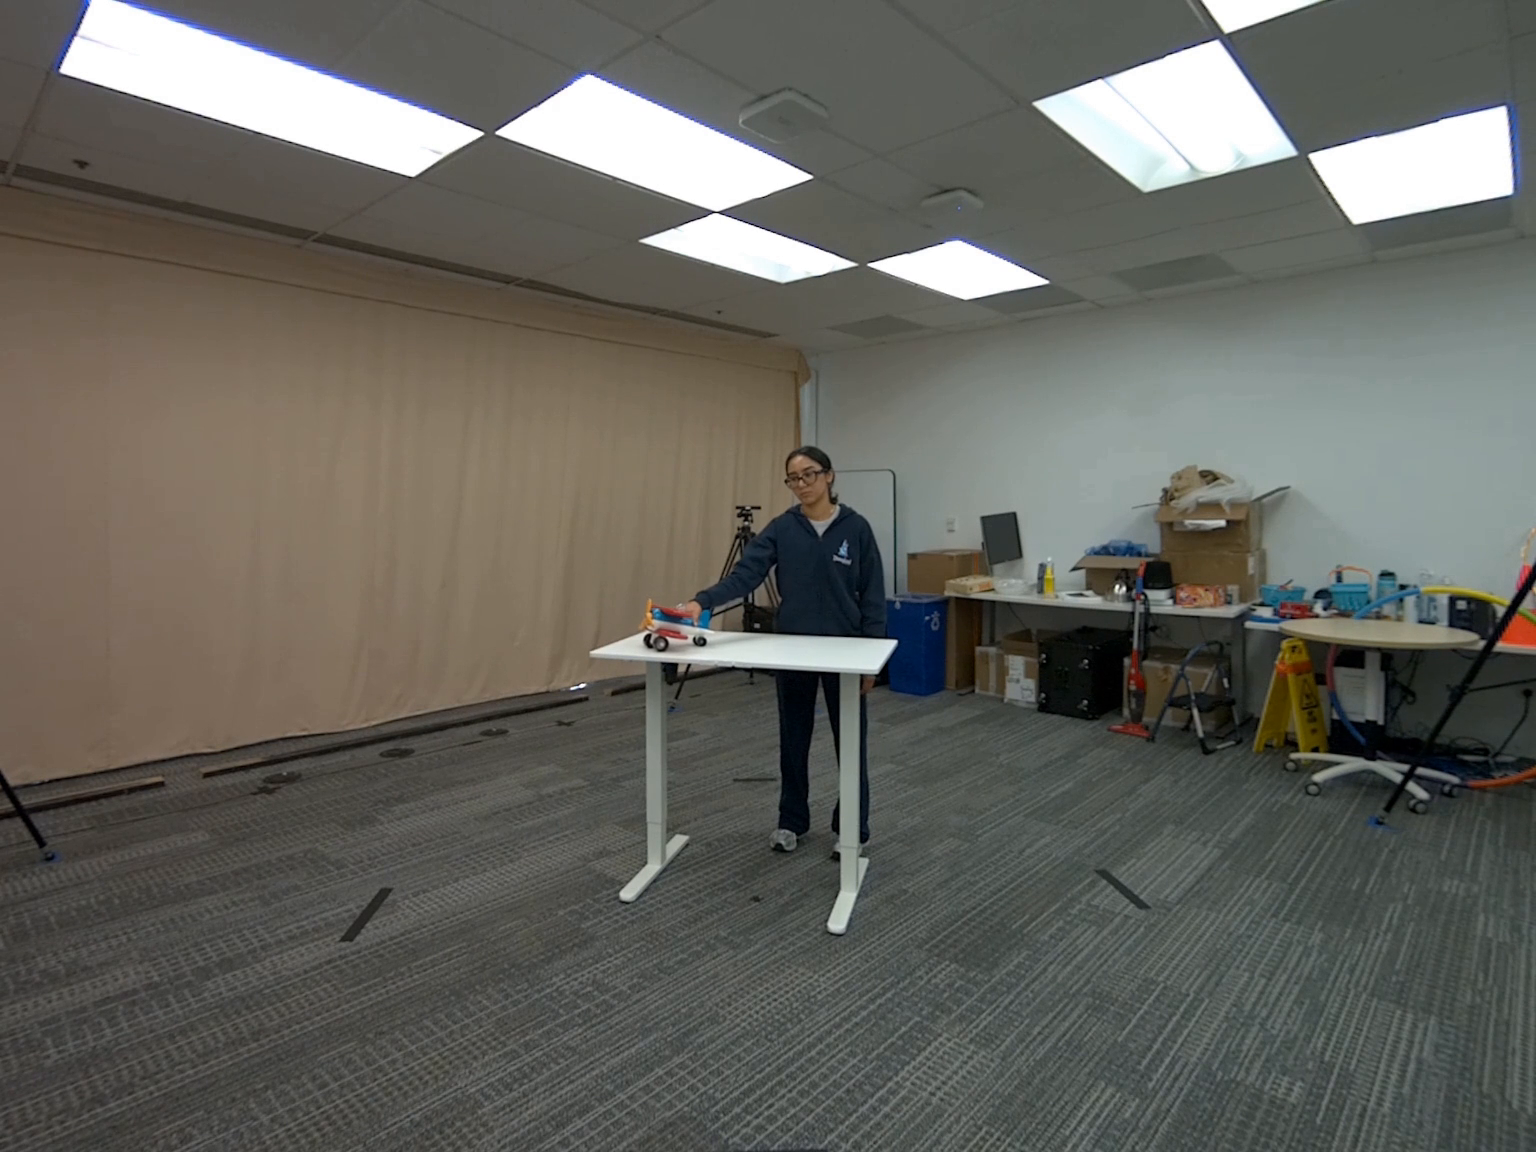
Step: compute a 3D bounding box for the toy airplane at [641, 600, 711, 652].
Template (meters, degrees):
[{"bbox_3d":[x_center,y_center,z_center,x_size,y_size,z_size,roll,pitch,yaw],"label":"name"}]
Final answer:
[{"bbox_3d":[-0.328,0.183,3.052,0.258,0.156,0.252,2,6,32],"label":"toy airplane"}]
